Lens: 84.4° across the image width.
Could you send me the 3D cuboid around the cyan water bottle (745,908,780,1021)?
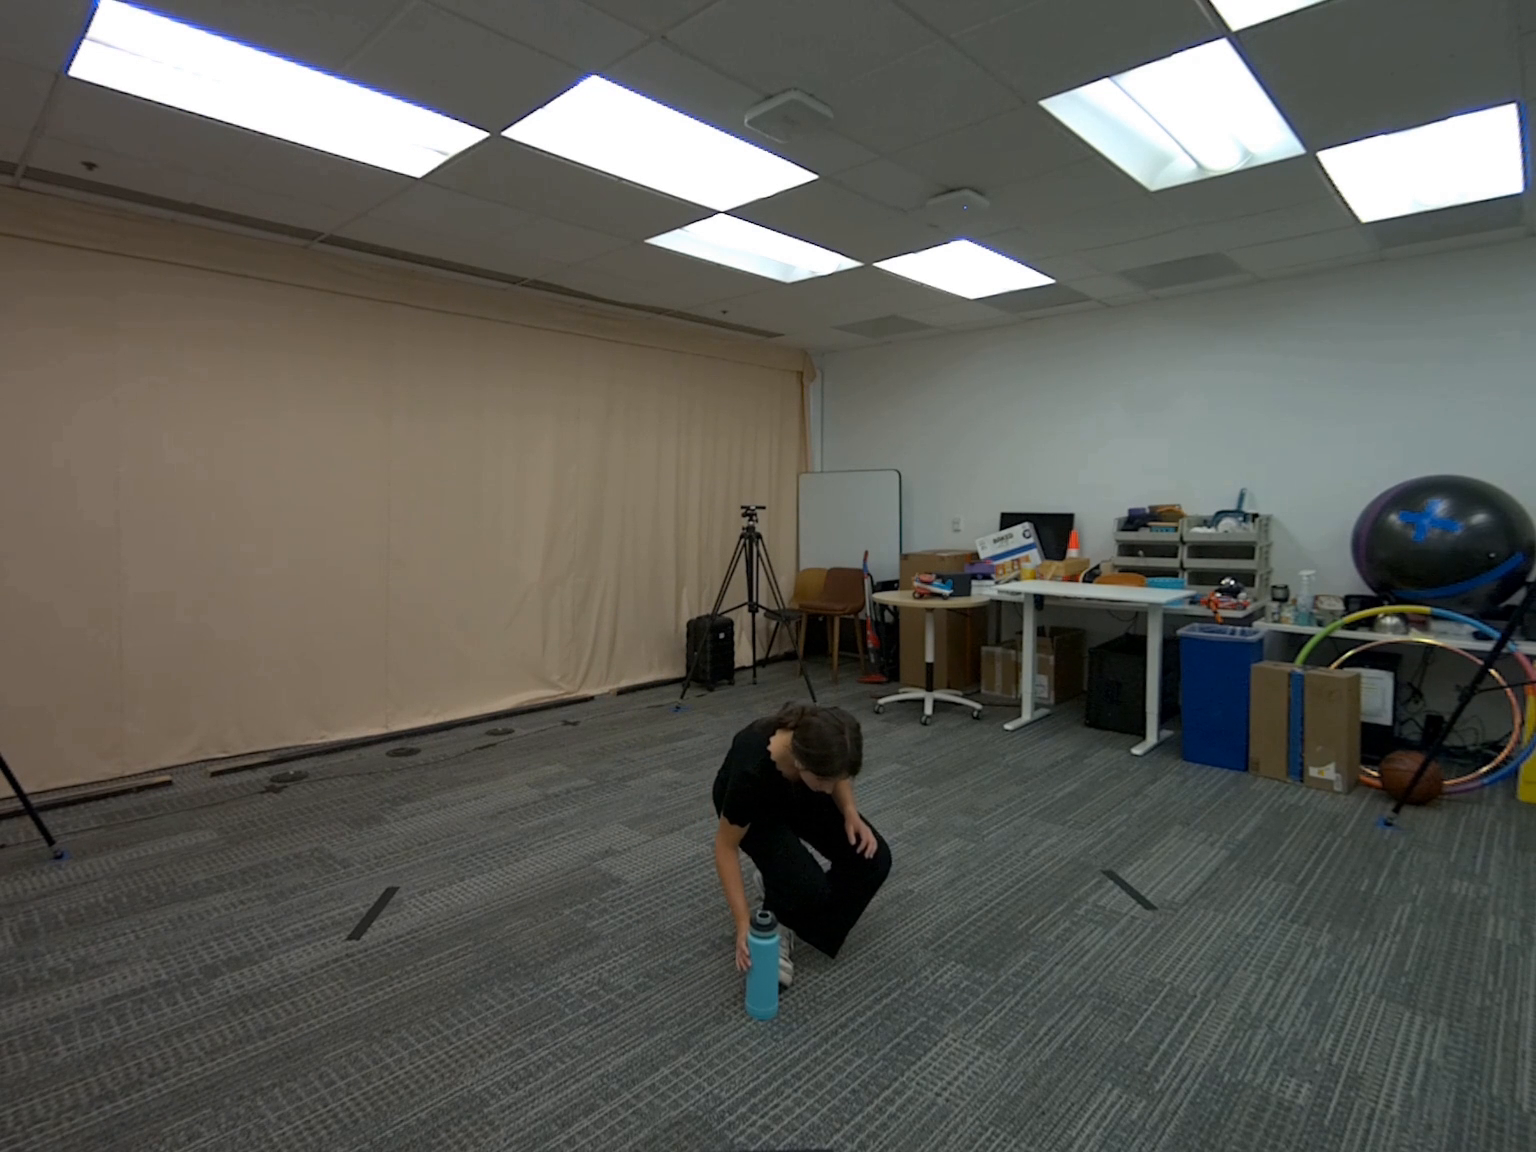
[{"bbox_3d":[-0.014,1.056,2.310,0.092,0.282,0.093,2,4,-2],"label":"cyan water bottle"}]
